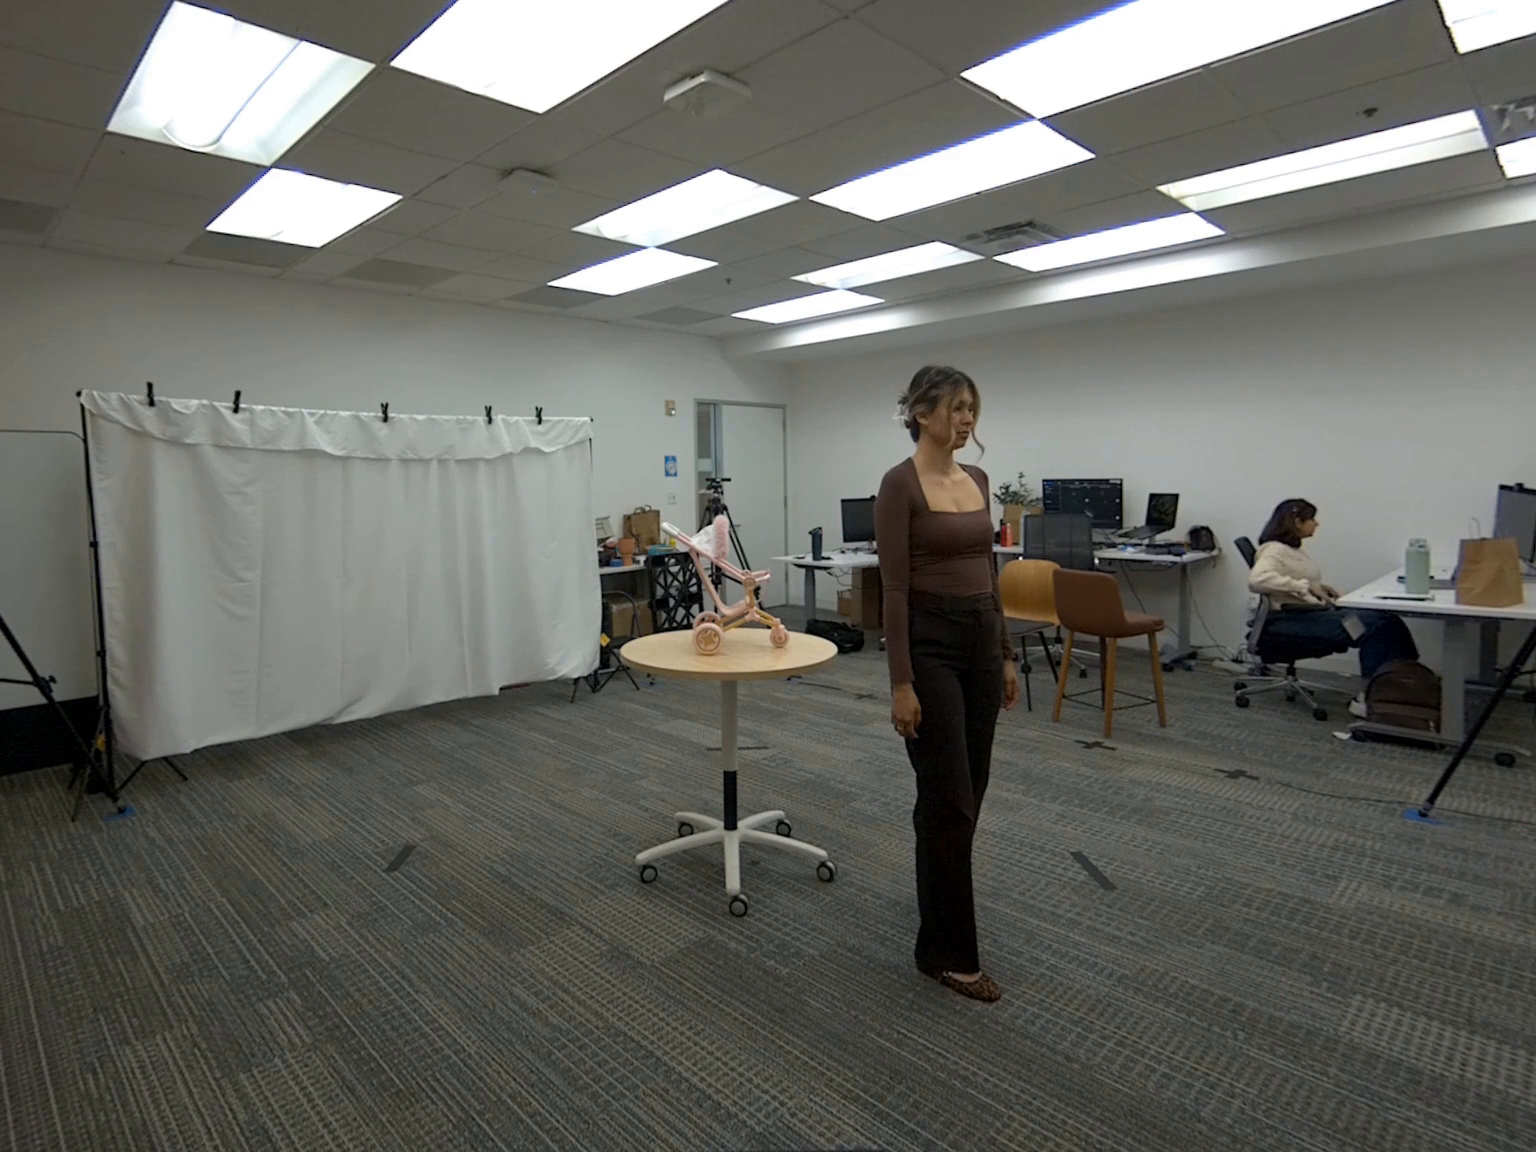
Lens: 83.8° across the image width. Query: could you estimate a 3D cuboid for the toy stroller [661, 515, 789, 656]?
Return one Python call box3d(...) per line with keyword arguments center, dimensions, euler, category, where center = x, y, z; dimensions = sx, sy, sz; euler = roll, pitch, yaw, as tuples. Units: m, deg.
box3d(center=(-0.140, 0.030, 3.009), dimensions=(0.342, 0.533, 0.282), euler=(-14, 4, 2), category="toy stroller")
